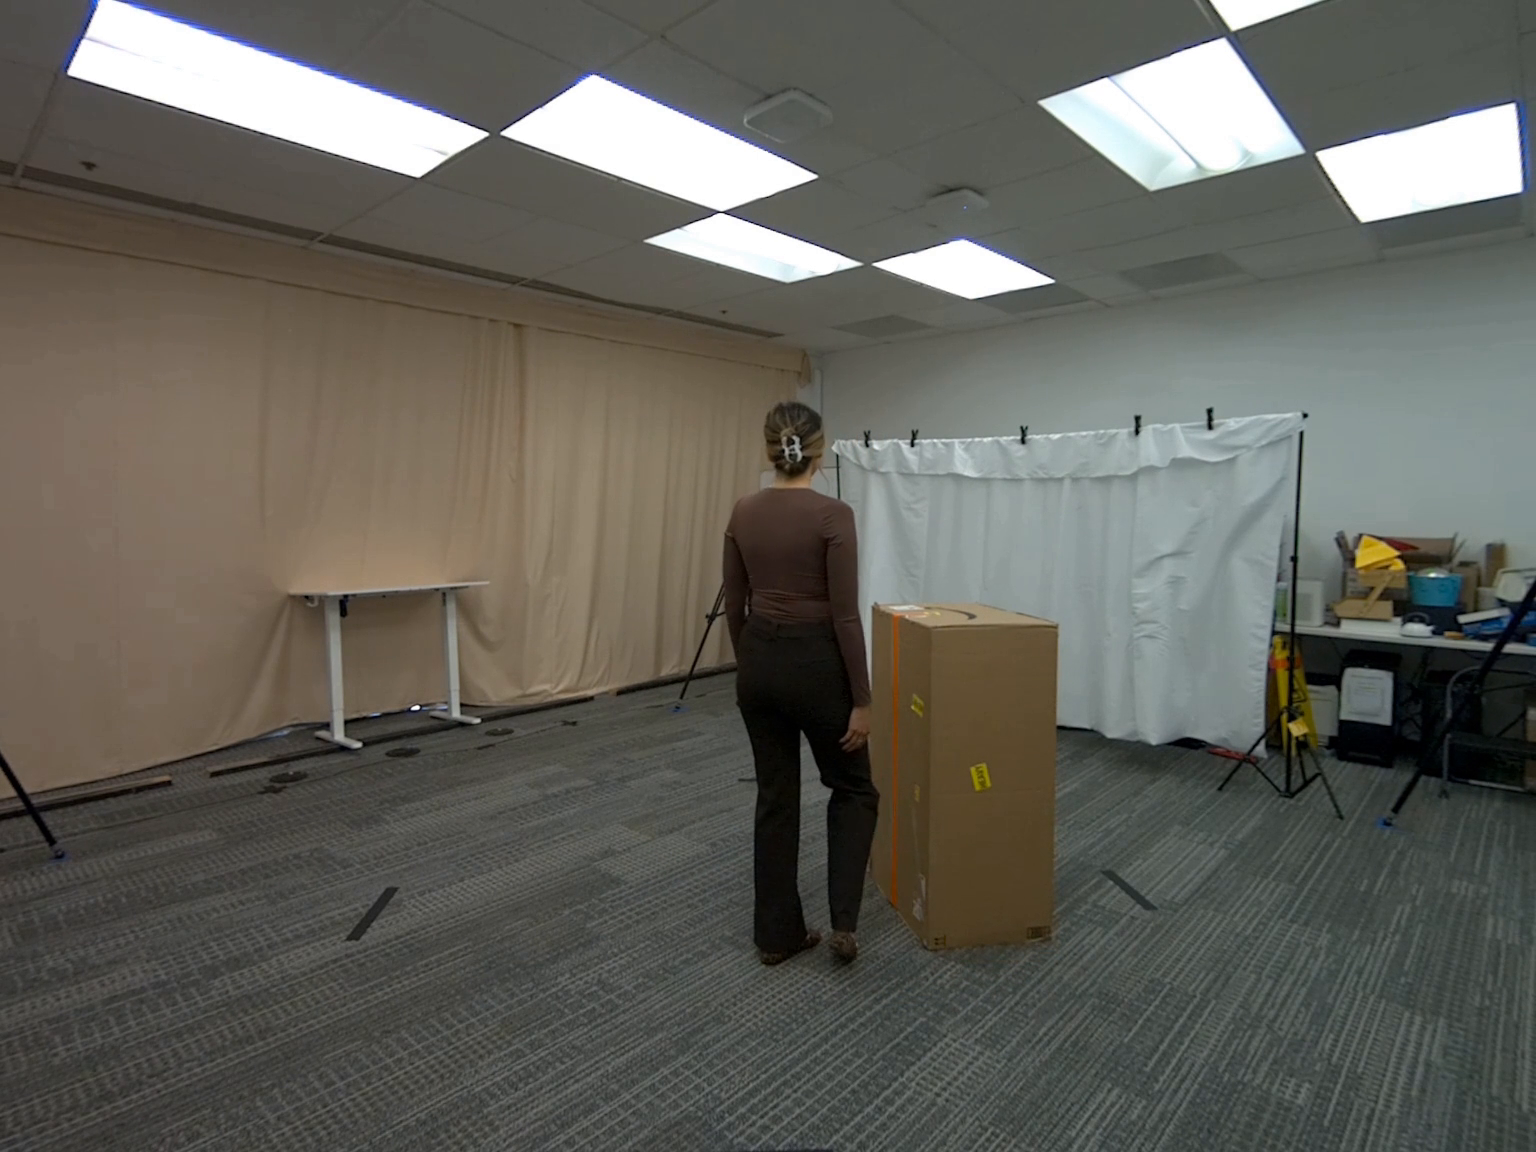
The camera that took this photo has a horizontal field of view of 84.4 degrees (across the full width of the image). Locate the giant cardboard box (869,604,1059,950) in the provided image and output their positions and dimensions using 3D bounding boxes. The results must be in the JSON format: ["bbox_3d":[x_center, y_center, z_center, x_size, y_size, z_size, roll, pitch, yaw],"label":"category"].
[{"bbox_3d":[0.654,0.633,2.916,0.442,1.025,0.591,-1,3,-10],"label":"giant cardboard box"}]
